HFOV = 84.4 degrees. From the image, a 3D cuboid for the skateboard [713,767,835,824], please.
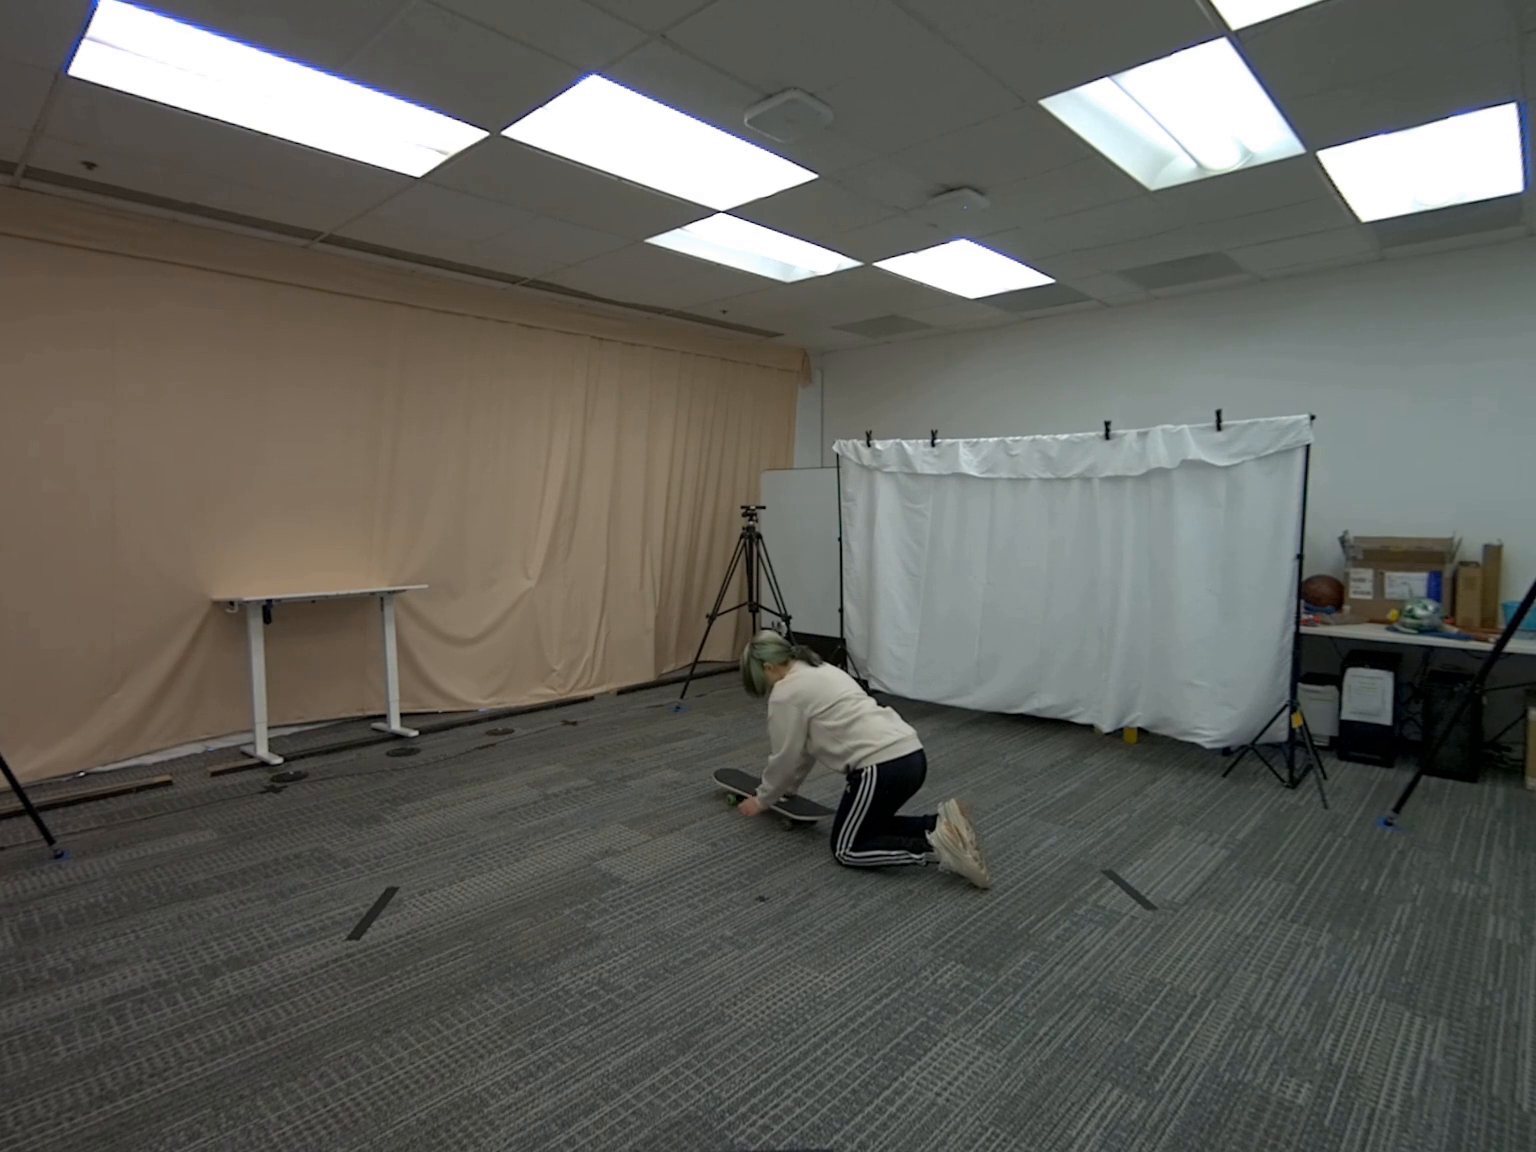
[{"bbox_3d":[0.014,1.020,3.819,0.187,0.110,0.811,-1,4,-37],"label":"skateboard"}]
